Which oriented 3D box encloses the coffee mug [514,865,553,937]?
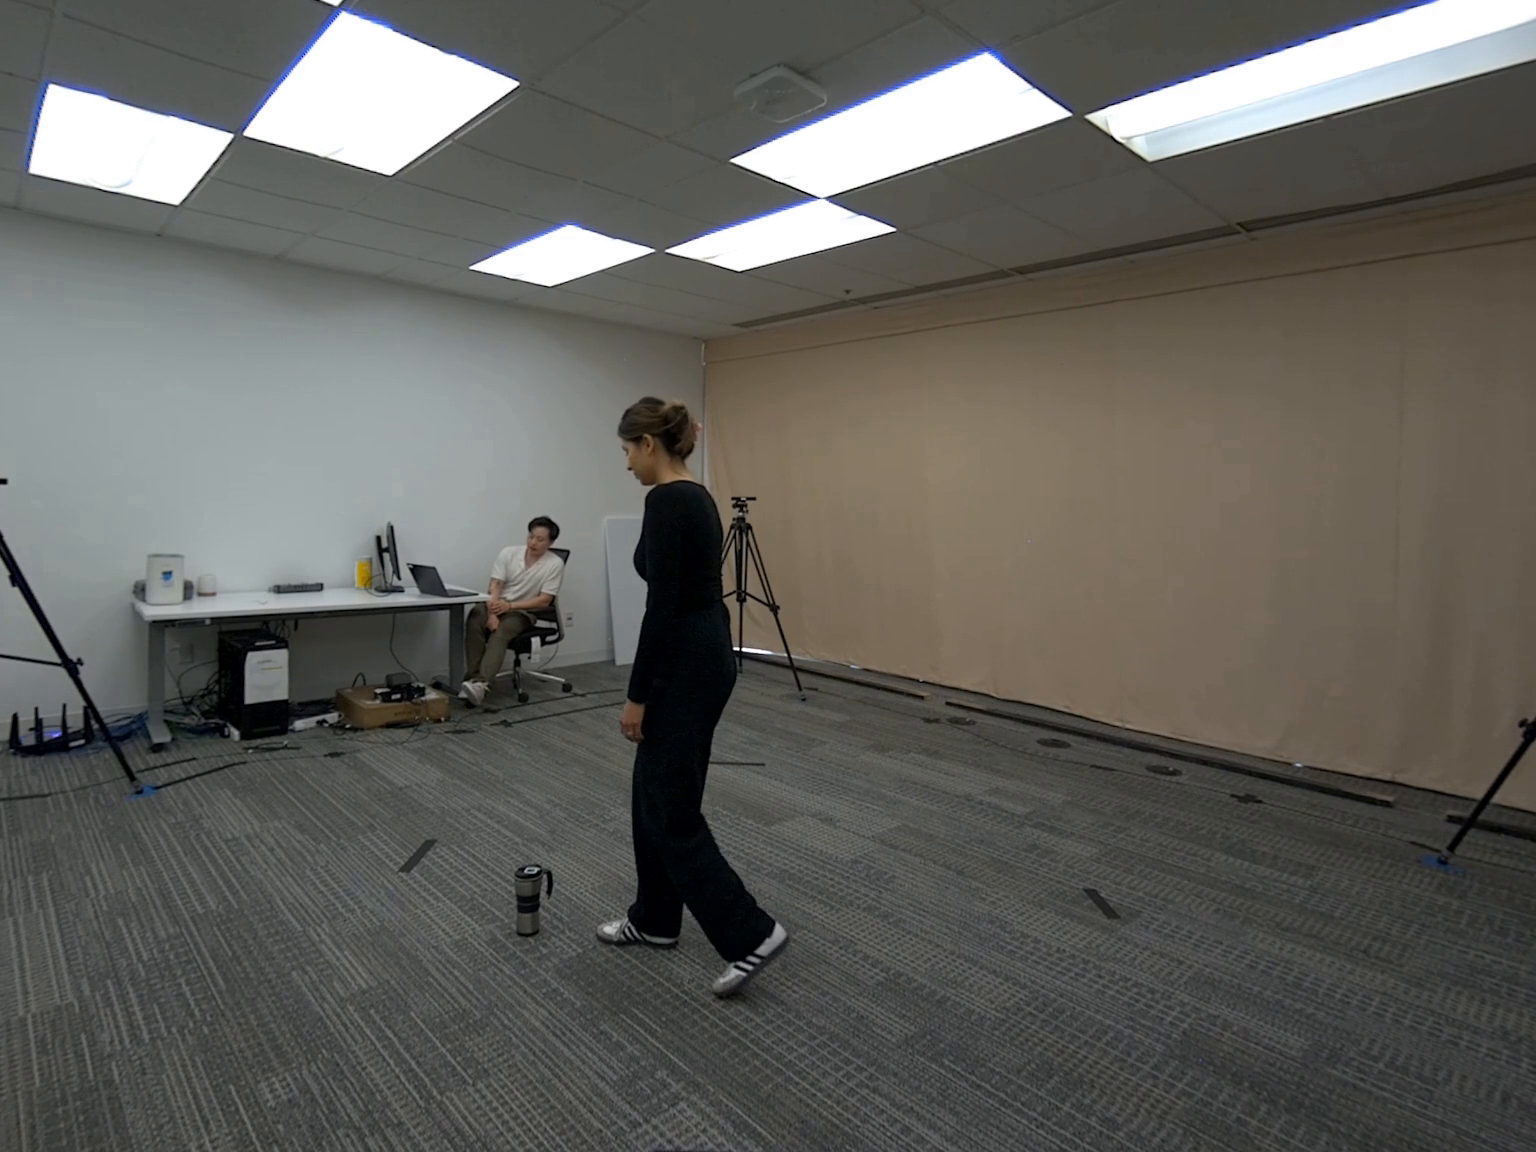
[{"bbox_3d":[-0.742,1.031,2.678,0.120,0.203,0.089,-4,2,-17],"label":"coffee mug"}]
